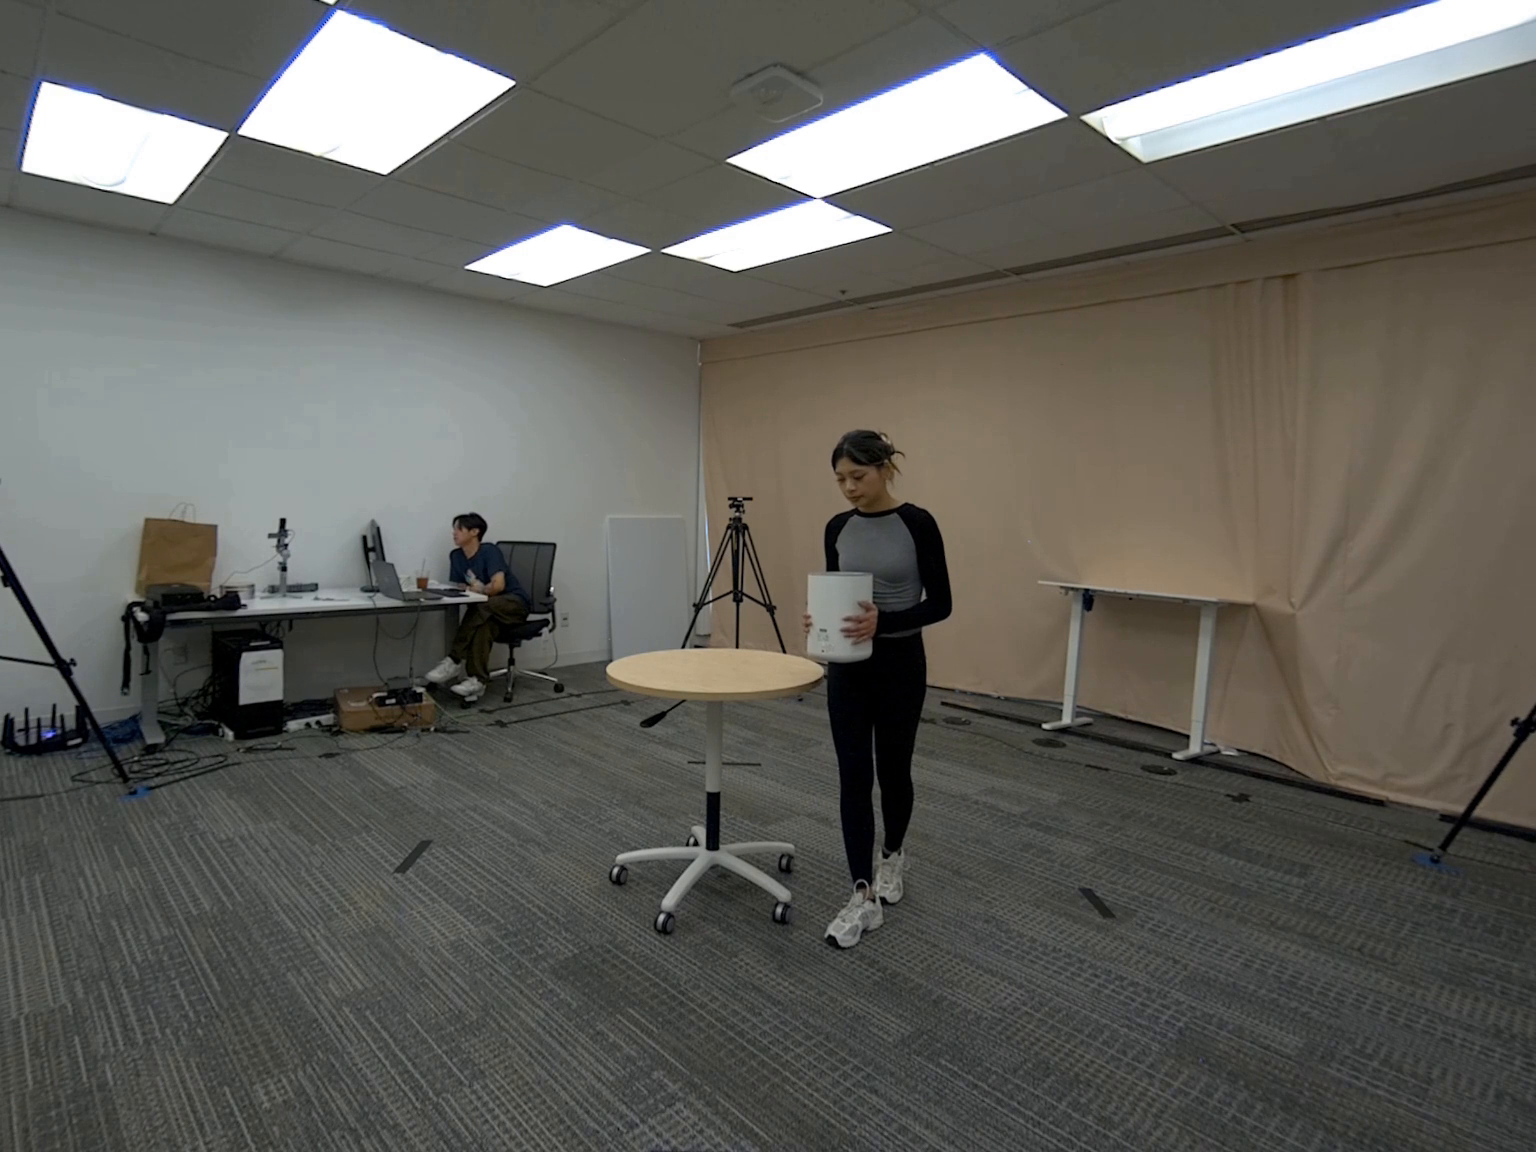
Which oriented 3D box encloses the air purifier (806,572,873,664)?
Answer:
[{"bbox_3d":[0.221,0.126,2.576,0.175,0.265,0.167,0,1,39],"label":"air purifier"}]
